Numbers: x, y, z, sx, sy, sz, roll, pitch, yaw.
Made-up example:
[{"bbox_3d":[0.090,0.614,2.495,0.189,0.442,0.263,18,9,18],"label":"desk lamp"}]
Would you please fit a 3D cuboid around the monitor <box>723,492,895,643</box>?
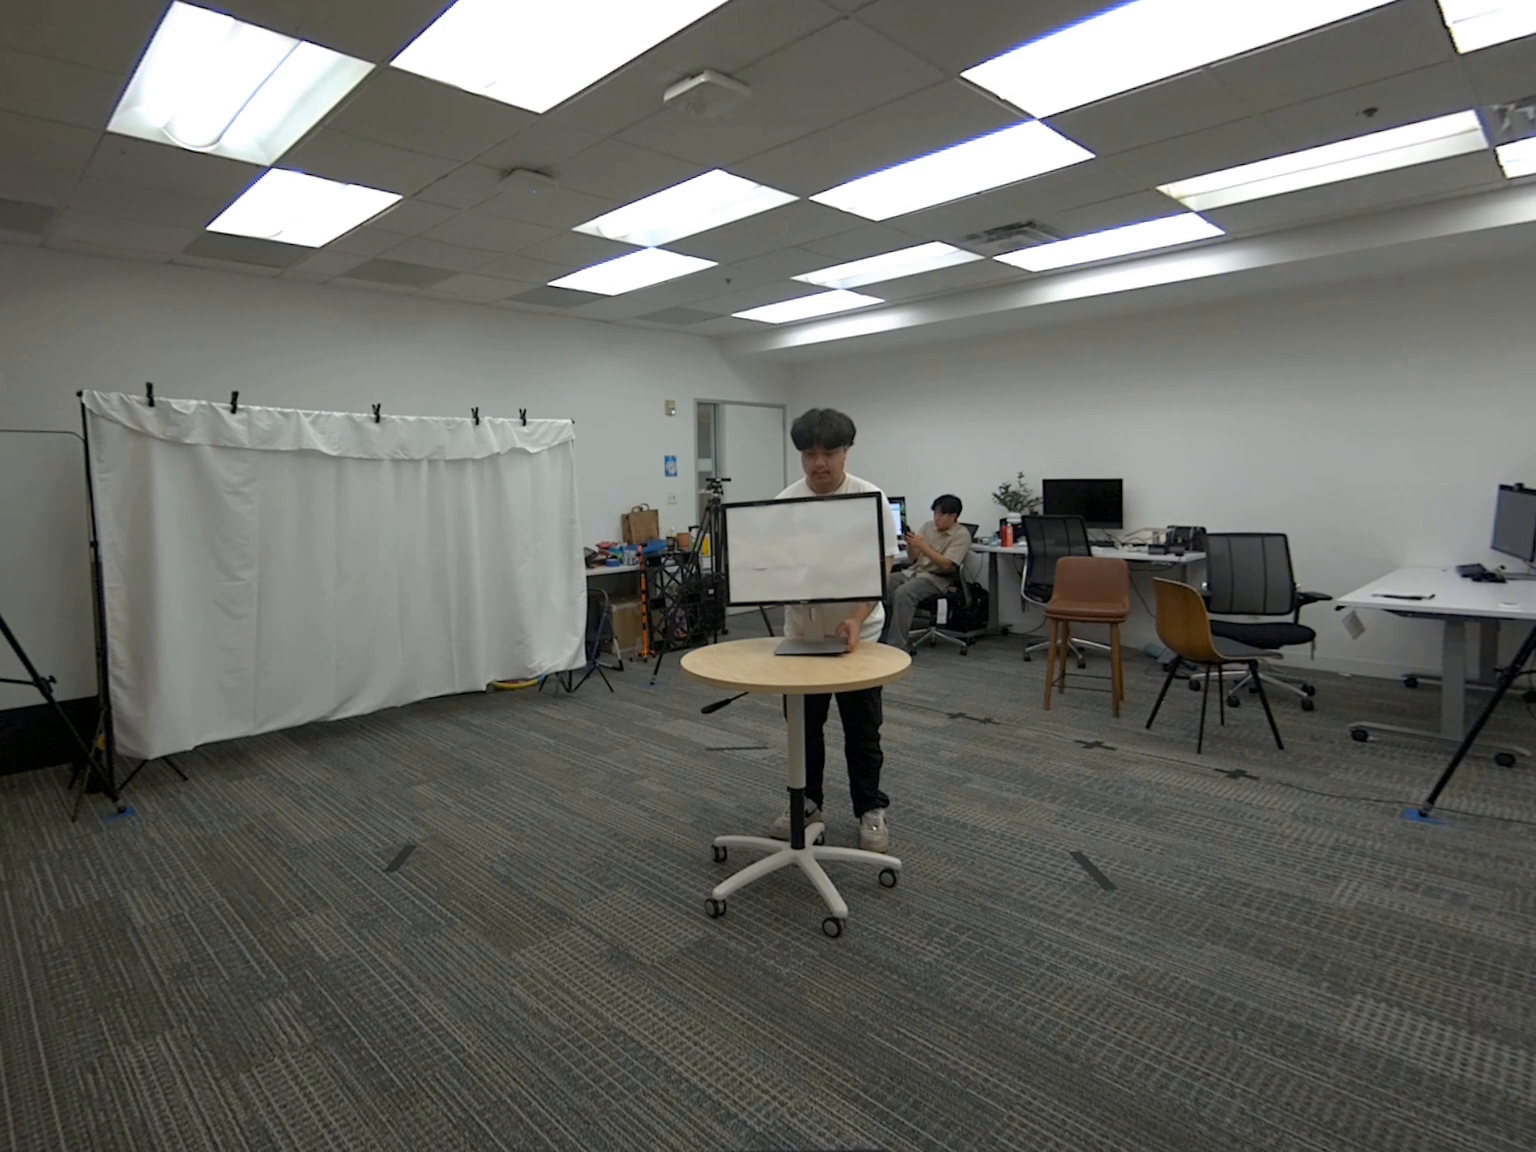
[{"bbox_3d":[0.141,-0.003,2.979,0.574,0.554,0.207,-4,-1,17],"label":"monitor"}]
